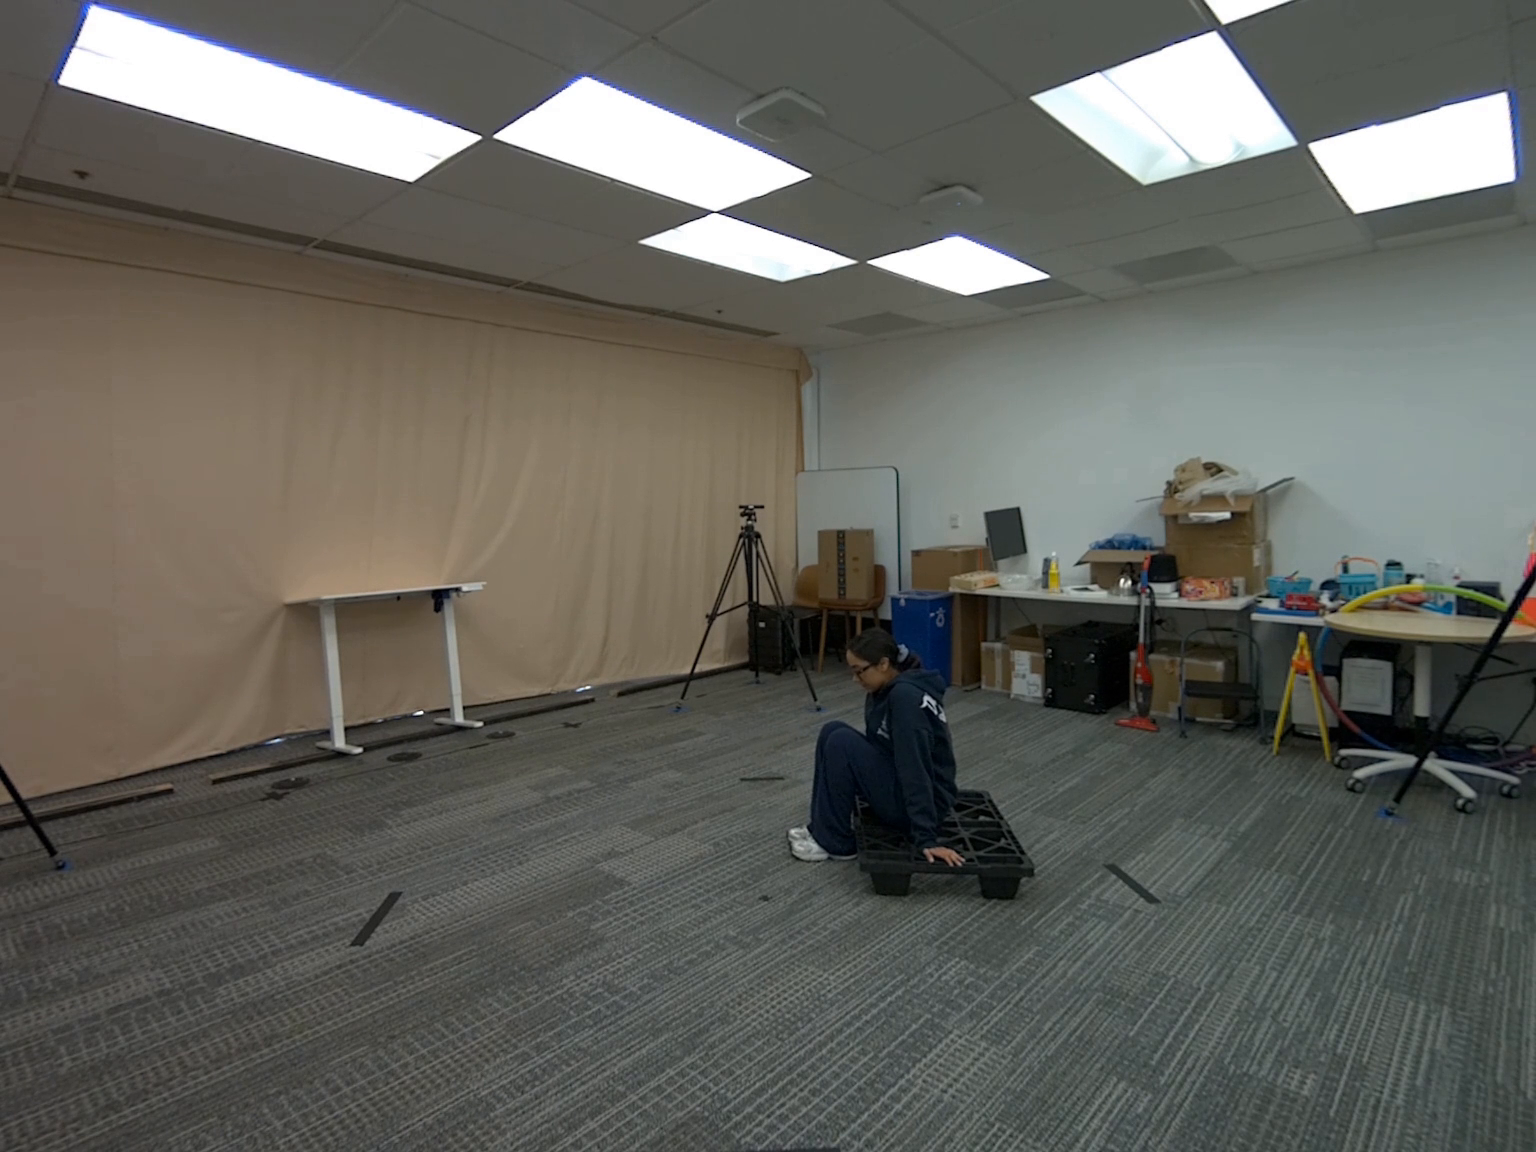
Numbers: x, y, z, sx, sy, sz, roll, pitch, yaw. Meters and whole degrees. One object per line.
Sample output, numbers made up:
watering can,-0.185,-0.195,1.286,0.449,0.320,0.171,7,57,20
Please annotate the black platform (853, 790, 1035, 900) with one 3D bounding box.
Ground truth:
black platform,0.652,1.033,3.314,0.609,0.143,0.803,0,5,4
